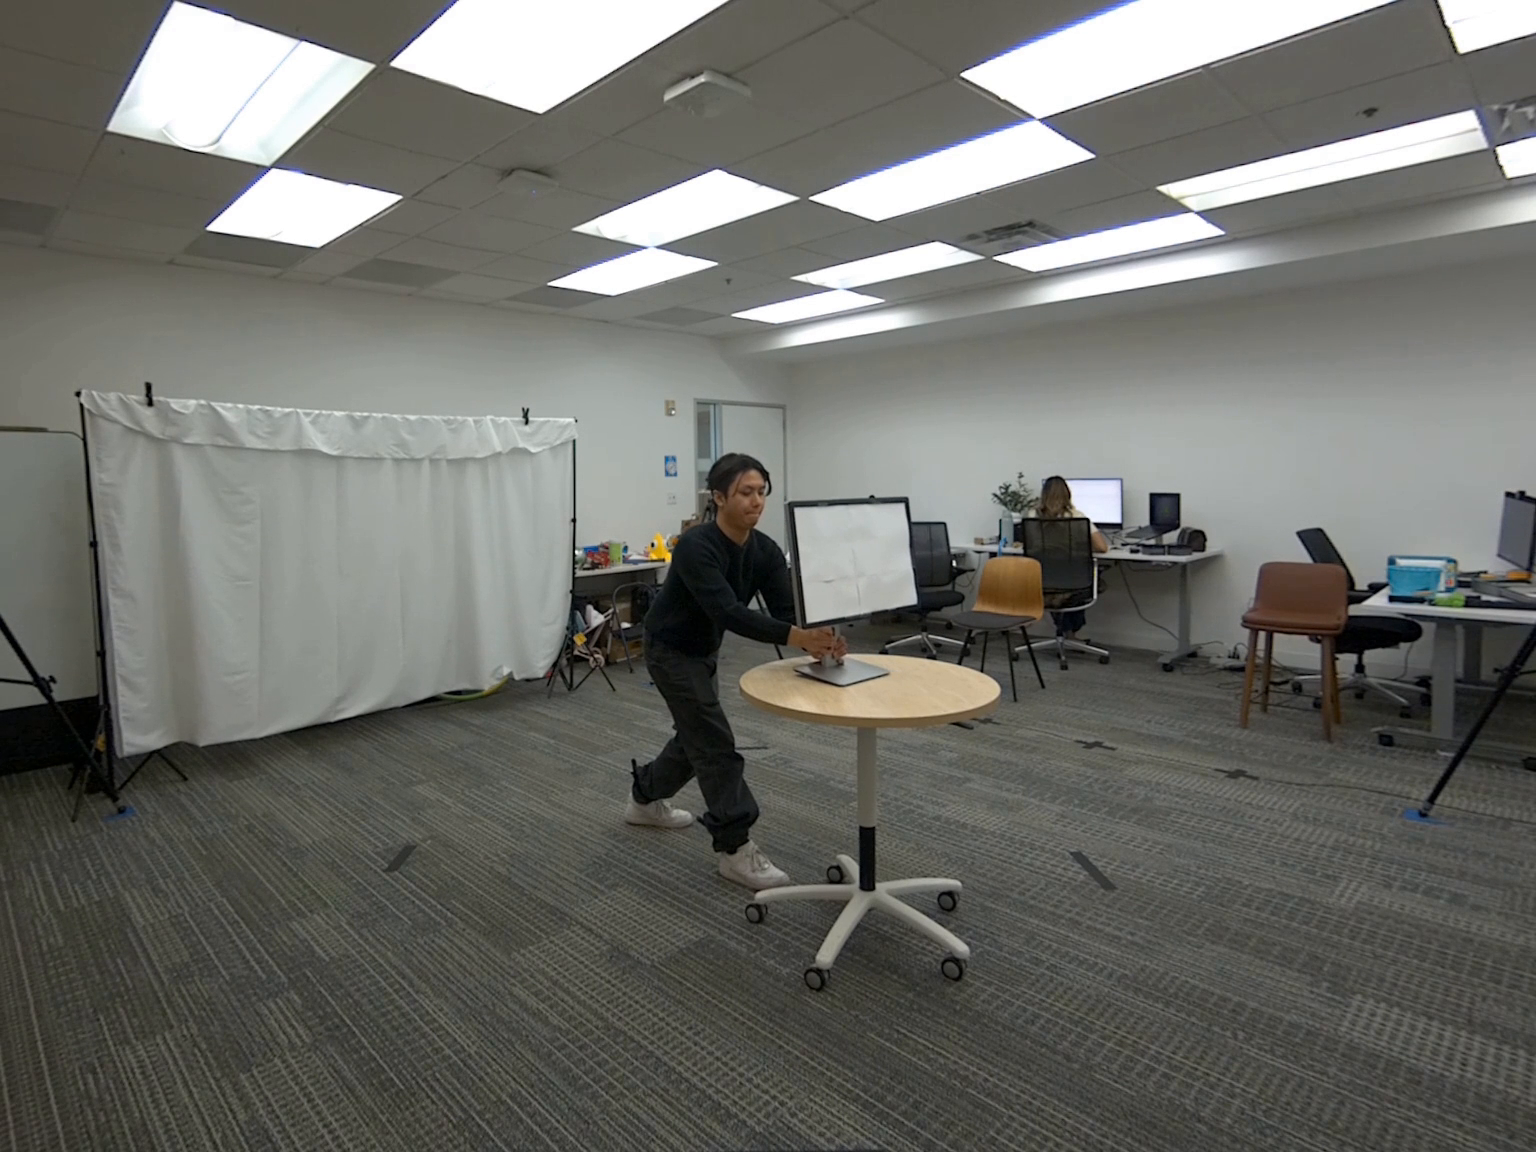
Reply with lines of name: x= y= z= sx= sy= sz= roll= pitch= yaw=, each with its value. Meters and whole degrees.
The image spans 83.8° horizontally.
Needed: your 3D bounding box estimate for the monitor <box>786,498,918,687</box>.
monitor: x=0.250 y=0.037 z=2.617 sx=0.193 sy=0.519 sz=0.525 roll=8 pitch=9 yaw=44
